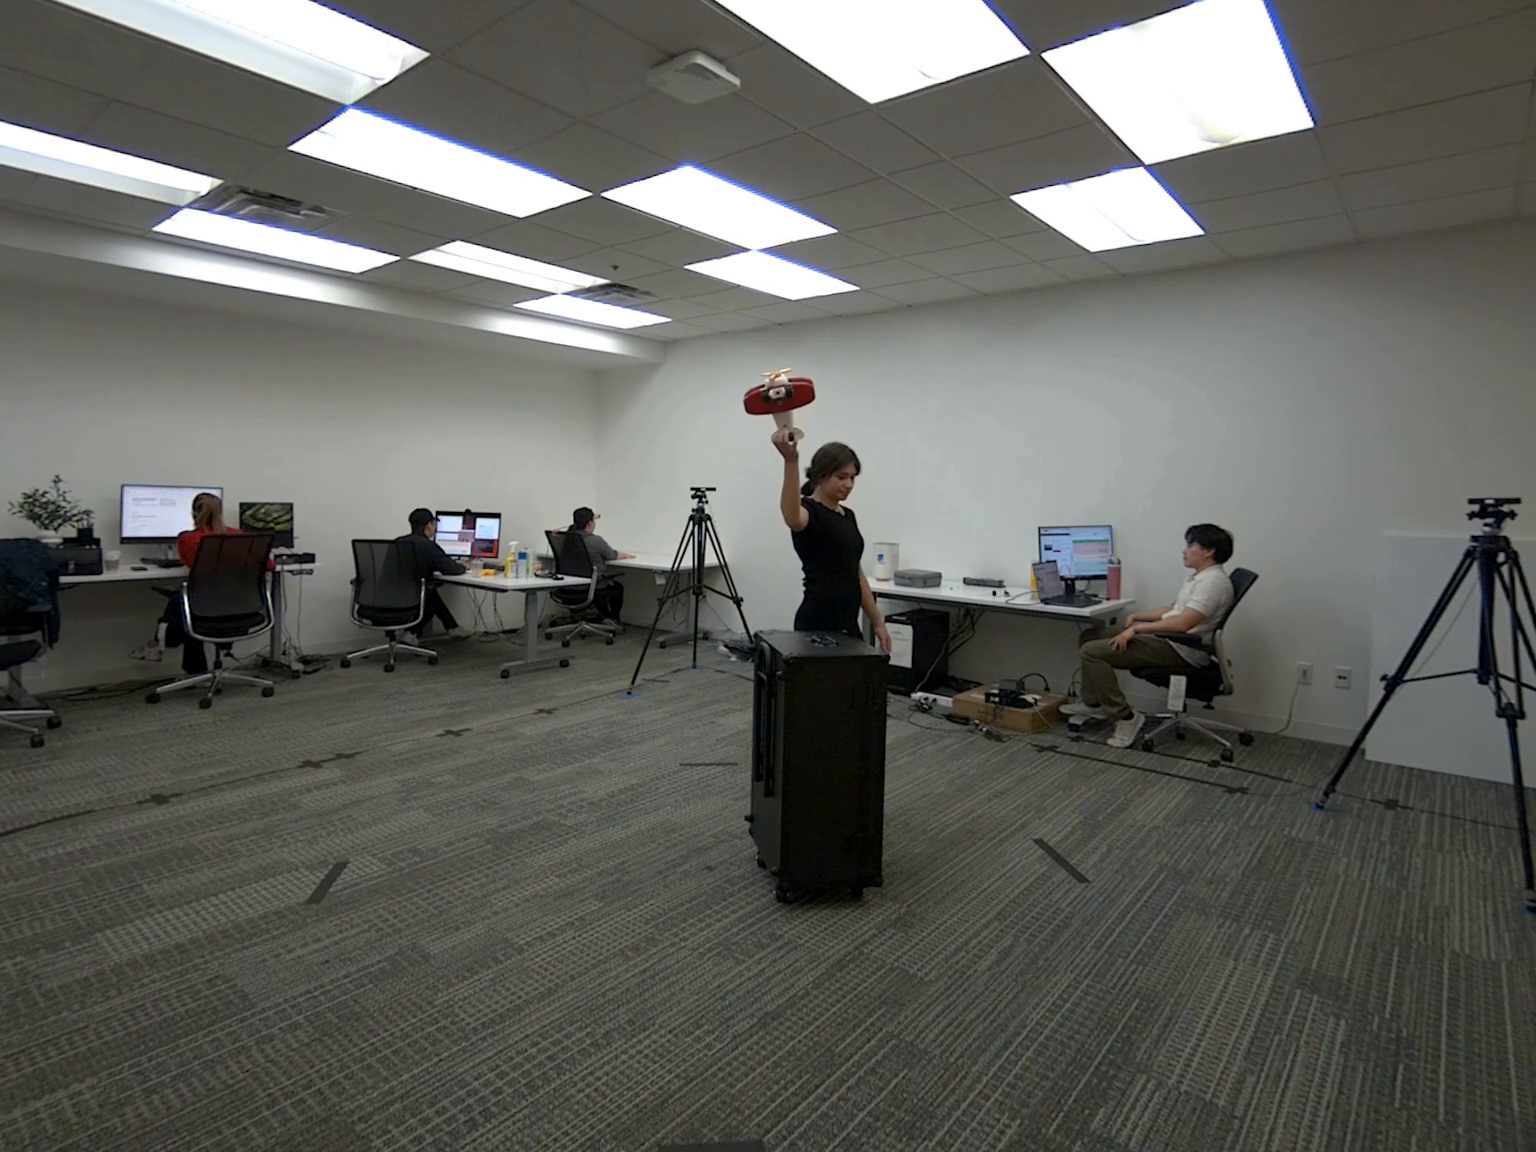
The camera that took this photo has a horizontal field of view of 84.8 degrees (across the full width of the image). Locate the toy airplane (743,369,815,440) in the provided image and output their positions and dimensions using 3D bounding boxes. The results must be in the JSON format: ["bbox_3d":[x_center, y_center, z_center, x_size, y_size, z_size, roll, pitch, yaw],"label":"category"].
[{"bbox_3d":[0.023,-0.605,3.065,0.249,0.255,0.160,13,36,-8],"label":"toy airplane"}]
